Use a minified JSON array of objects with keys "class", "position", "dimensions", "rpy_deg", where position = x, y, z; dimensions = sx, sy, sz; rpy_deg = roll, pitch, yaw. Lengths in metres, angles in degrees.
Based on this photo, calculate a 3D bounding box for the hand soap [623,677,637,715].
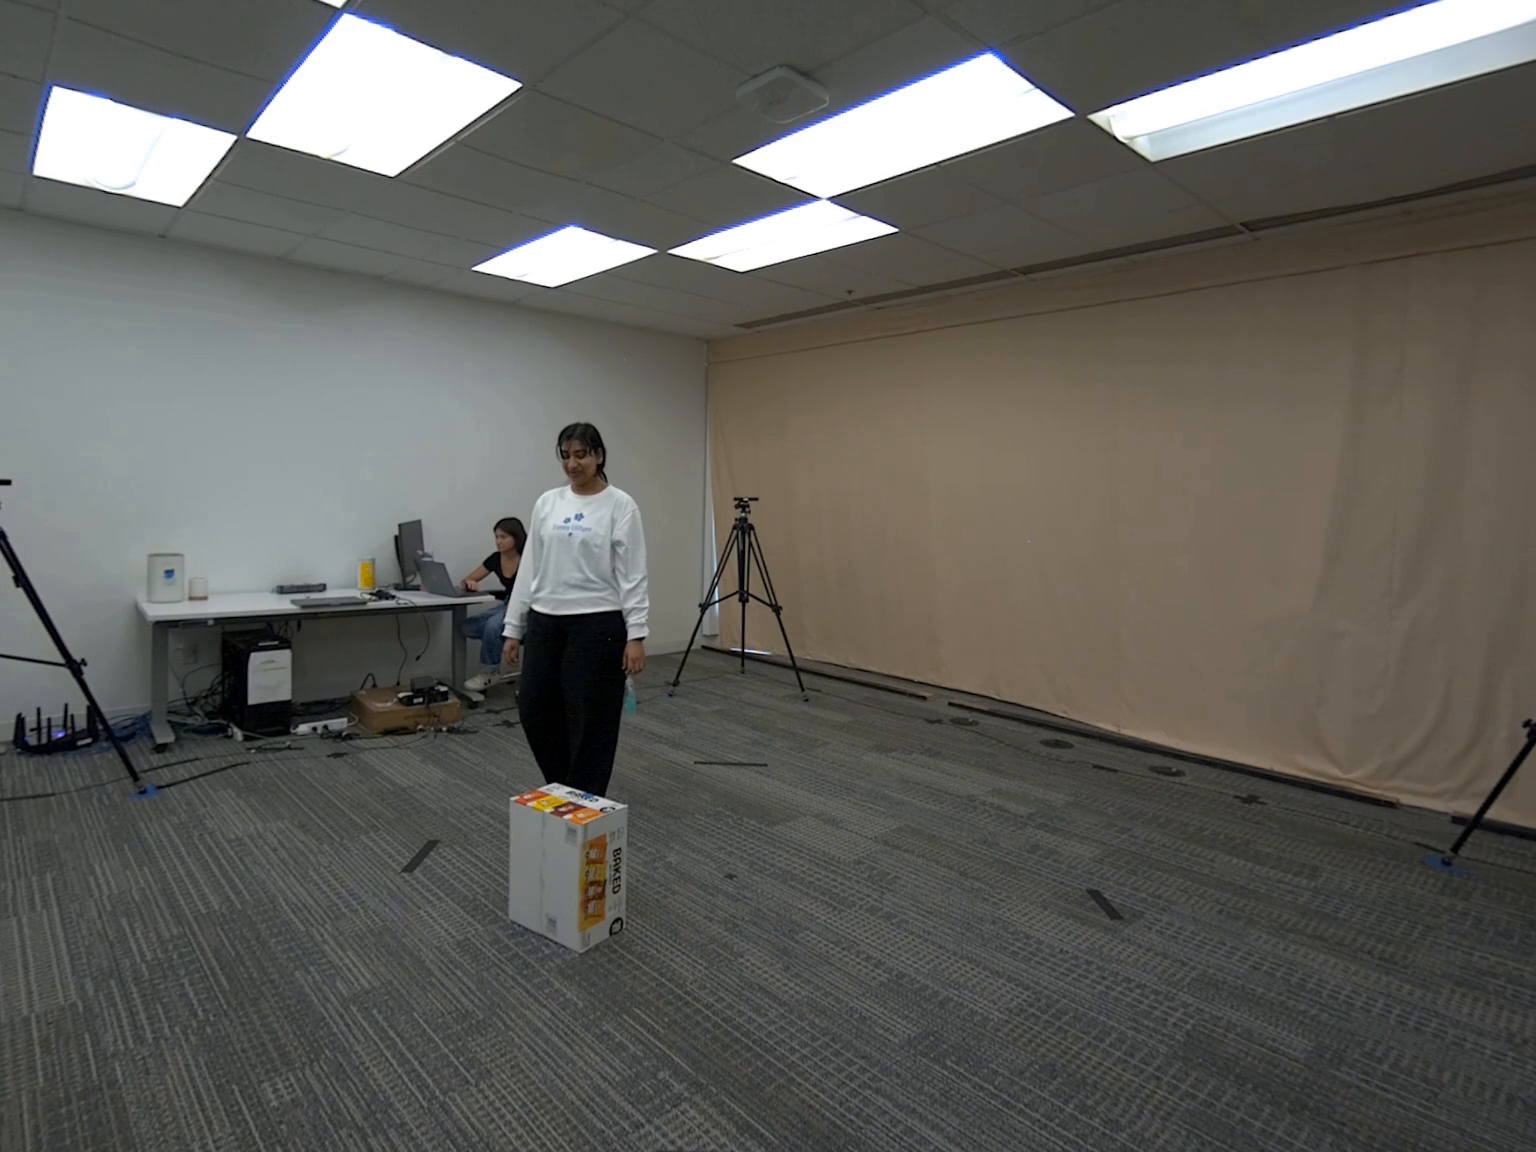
[{"class":"hand soap","position":[-0.547,0.454,3.328],"dimensions":[0.042,0.169,0.086],"rpy_deg":[0,-5,-28]}]
